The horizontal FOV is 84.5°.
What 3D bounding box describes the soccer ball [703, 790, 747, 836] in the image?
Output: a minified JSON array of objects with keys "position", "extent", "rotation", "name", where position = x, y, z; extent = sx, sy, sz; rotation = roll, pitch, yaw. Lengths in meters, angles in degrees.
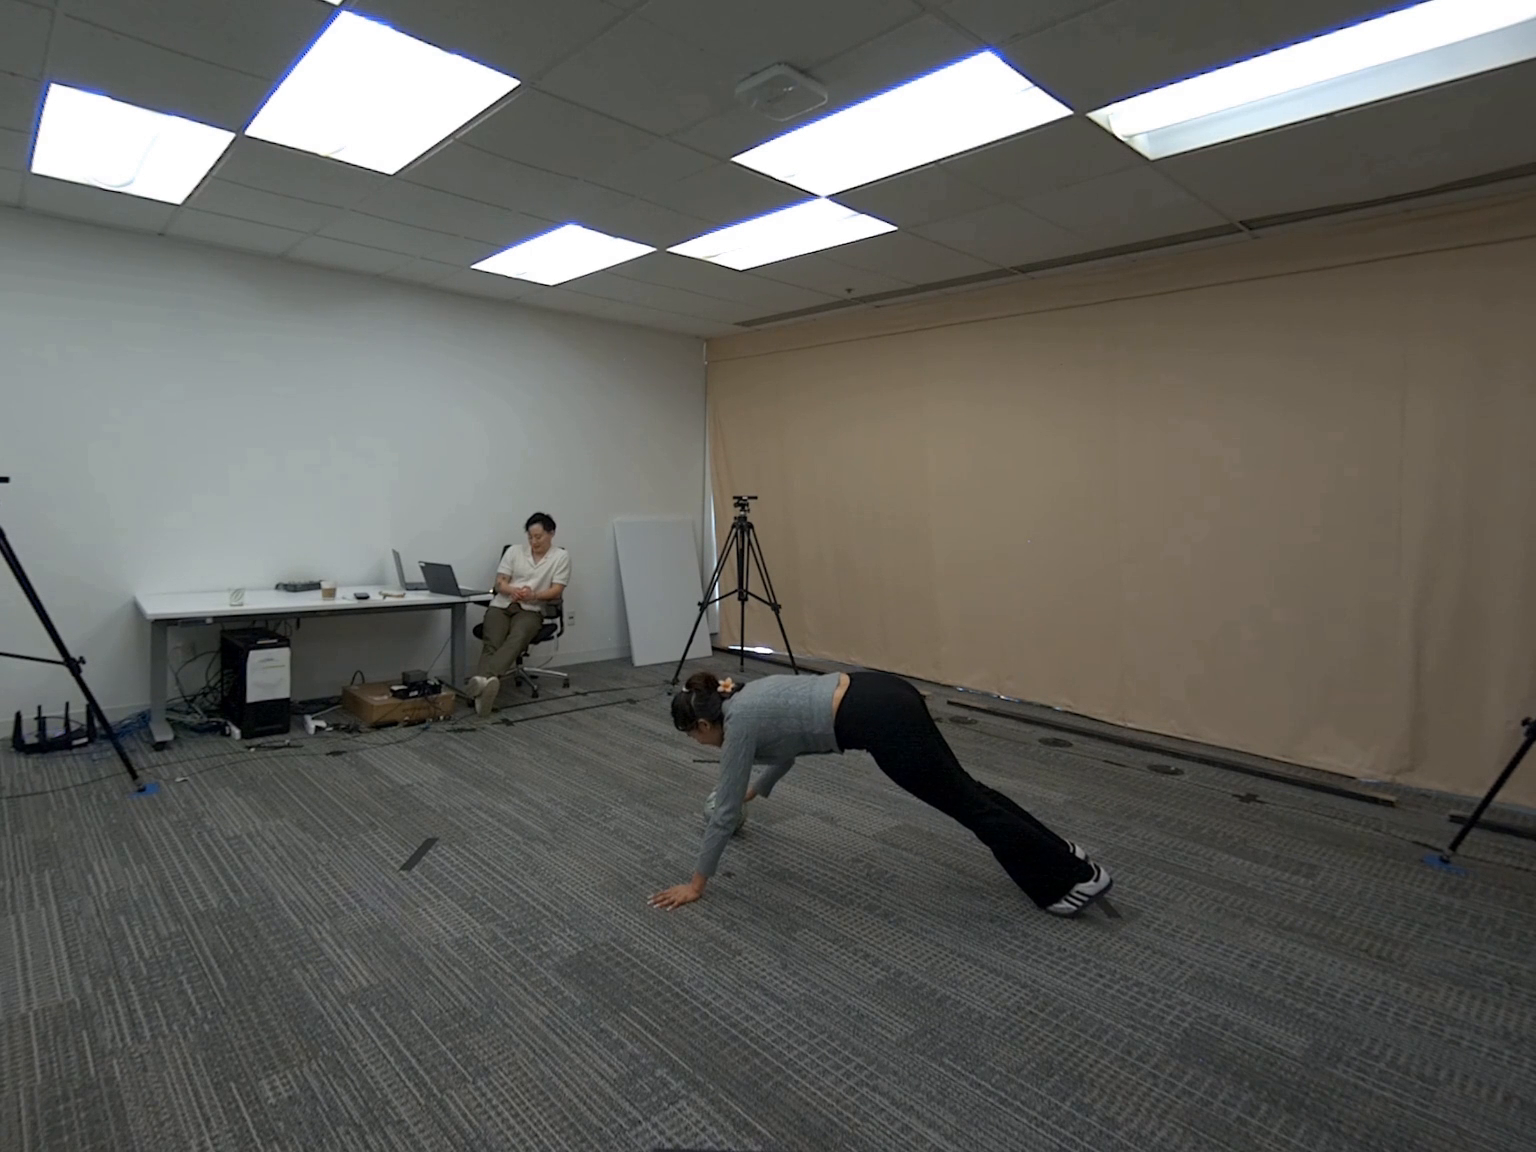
[{"position":[-0.190,0.981,3.479],"extent":[0.187,0.187,0.188],"rotation":[1,4,-1],"name":"soccer ball"}]
